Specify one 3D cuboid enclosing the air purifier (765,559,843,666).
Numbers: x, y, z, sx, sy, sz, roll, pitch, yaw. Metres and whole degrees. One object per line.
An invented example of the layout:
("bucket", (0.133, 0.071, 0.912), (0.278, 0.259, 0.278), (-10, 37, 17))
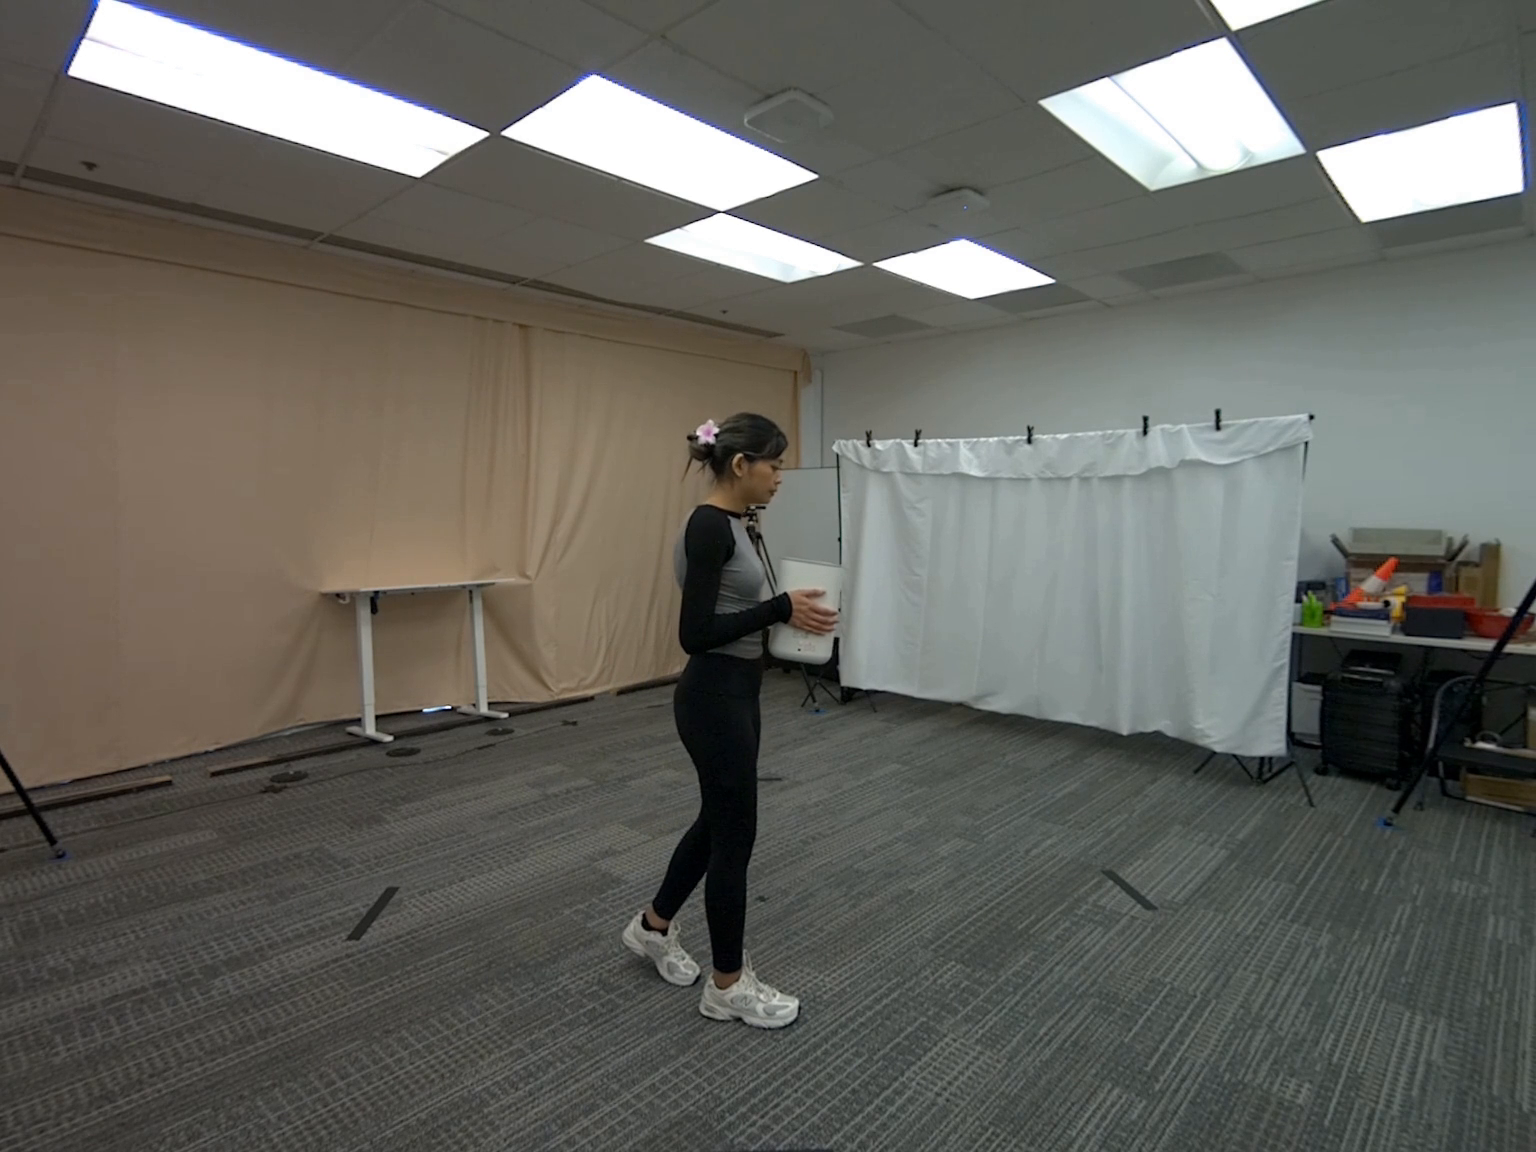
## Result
("air purifier", (0.097, 0.095, 2.242), (0.172, 0.265, 0.171), (9, 4, 3))
